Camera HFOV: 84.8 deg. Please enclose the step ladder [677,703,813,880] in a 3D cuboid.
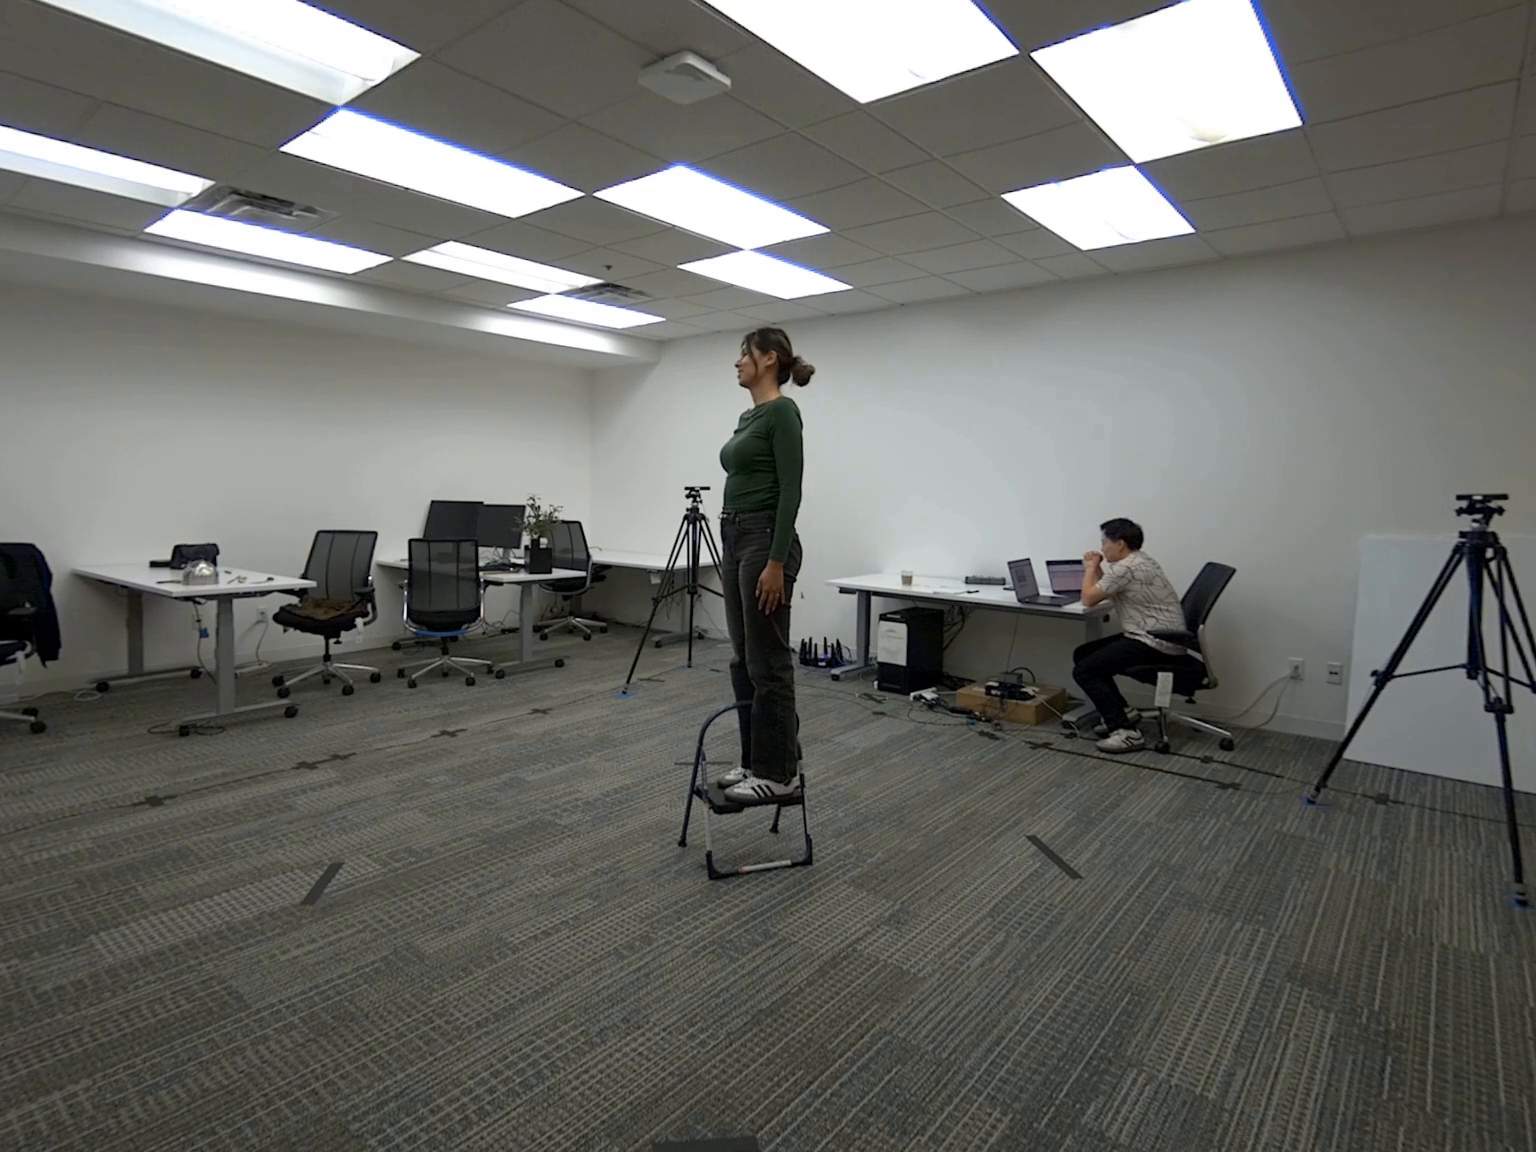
[{"bbox_3d":[-0.097,0.754,3.222,0.421,0.604,0.358,-1,4,-23],"label":"step ladder"}]
